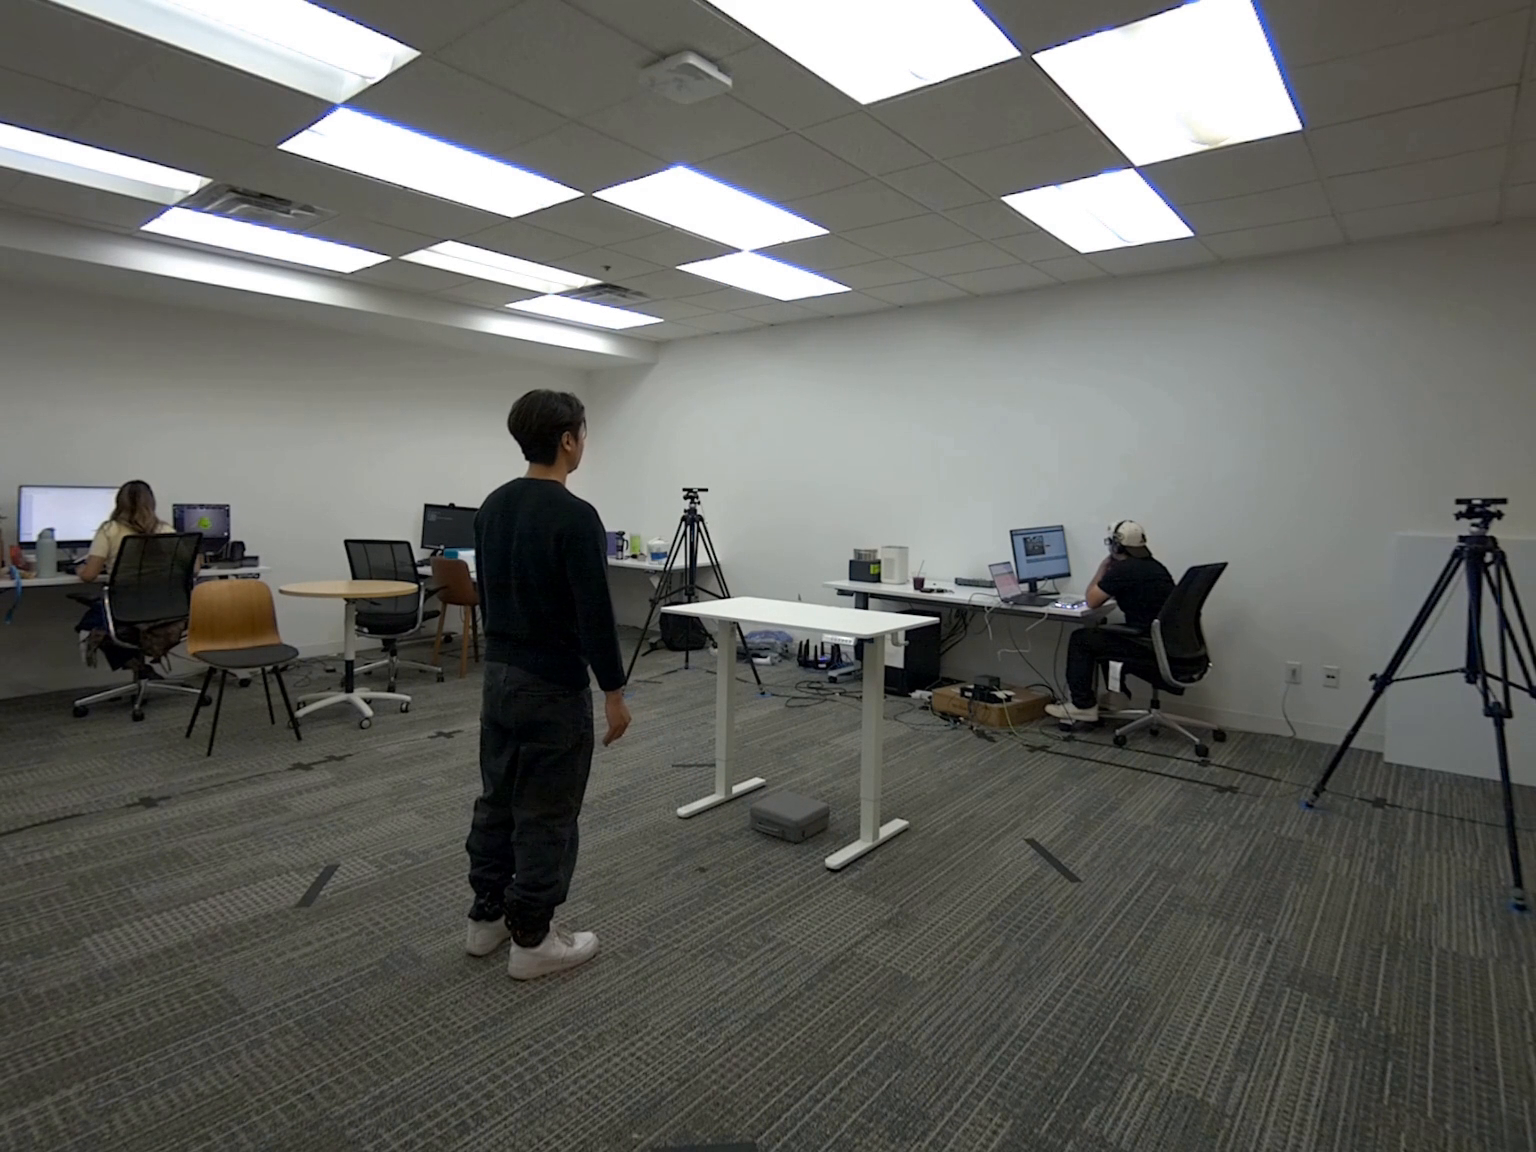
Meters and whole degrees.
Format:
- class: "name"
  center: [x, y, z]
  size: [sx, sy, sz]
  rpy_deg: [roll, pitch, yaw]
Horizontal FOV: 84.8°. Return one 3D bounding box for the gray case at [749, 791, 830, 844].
- class: "gray case"
  center: [0.083, 0.975, 3.502]
  size: [0.269, 0.104, 0.249]
  rpy_deg: [5, 7, 38]
